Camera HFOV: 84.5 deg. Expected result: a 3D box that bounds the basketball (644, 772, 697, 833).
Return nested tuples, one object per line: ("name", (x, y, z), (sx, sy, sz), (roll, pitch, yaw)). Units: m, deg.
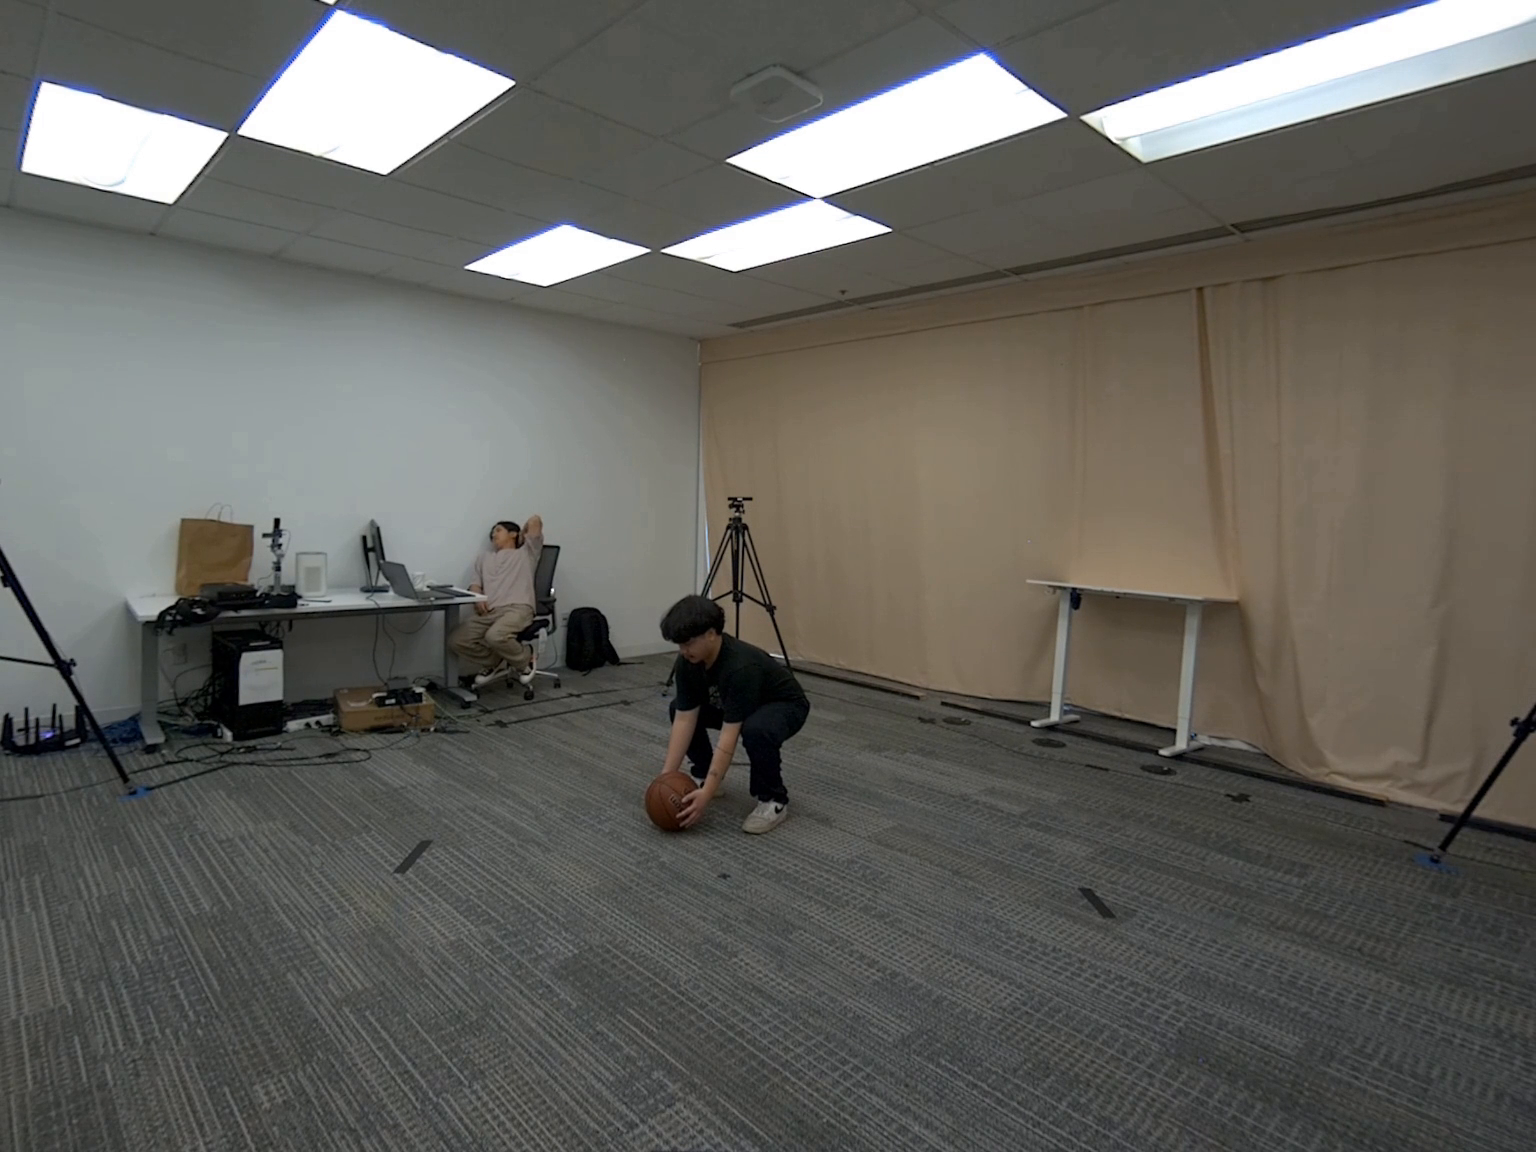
("basketball", (-0.421, 0.943, 3.545), (0.236, 0.235, 0.237), (1, 4, -1))
